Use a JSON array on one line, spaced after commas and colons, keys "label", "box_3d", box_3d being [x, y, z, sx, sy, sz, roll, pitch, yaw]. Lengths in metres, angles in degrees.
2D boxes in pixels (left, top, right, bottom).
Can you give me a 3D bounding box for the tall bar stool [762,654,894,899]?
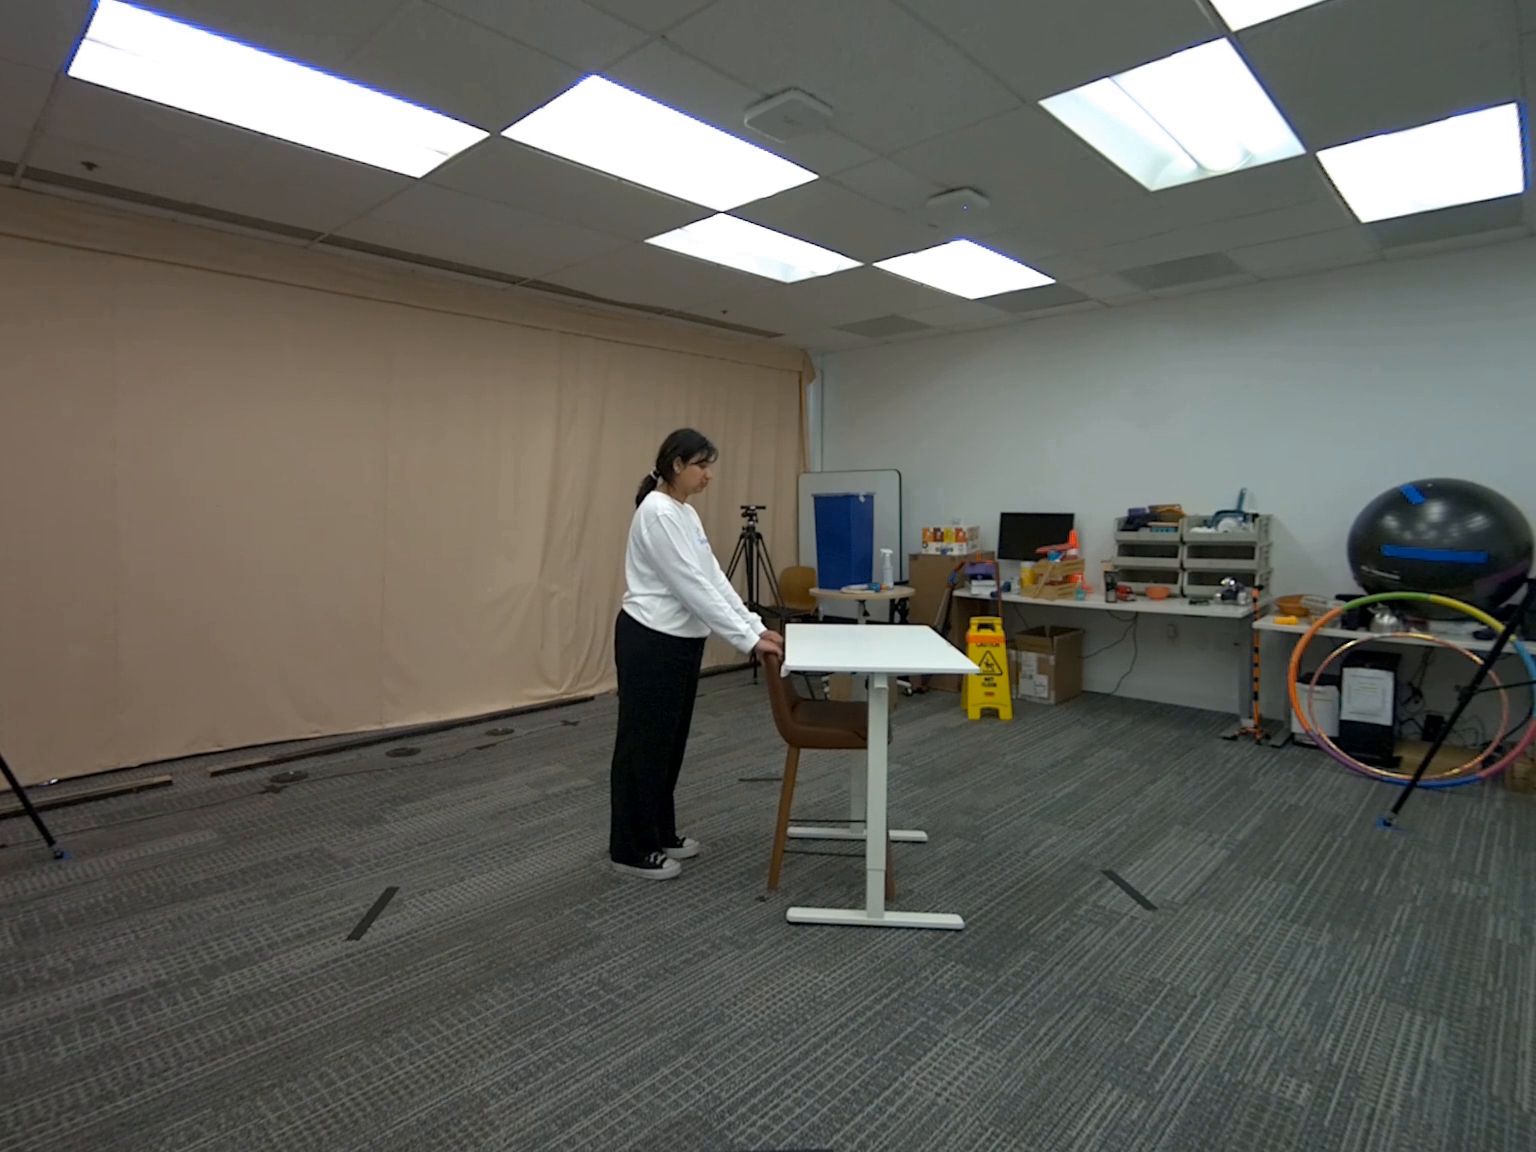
[{"label": "tall bar stool", "box_3d": [0.231, 0.696, 3.183, 0.471, 0.888, 0.454, -1, 3, 6]}]
